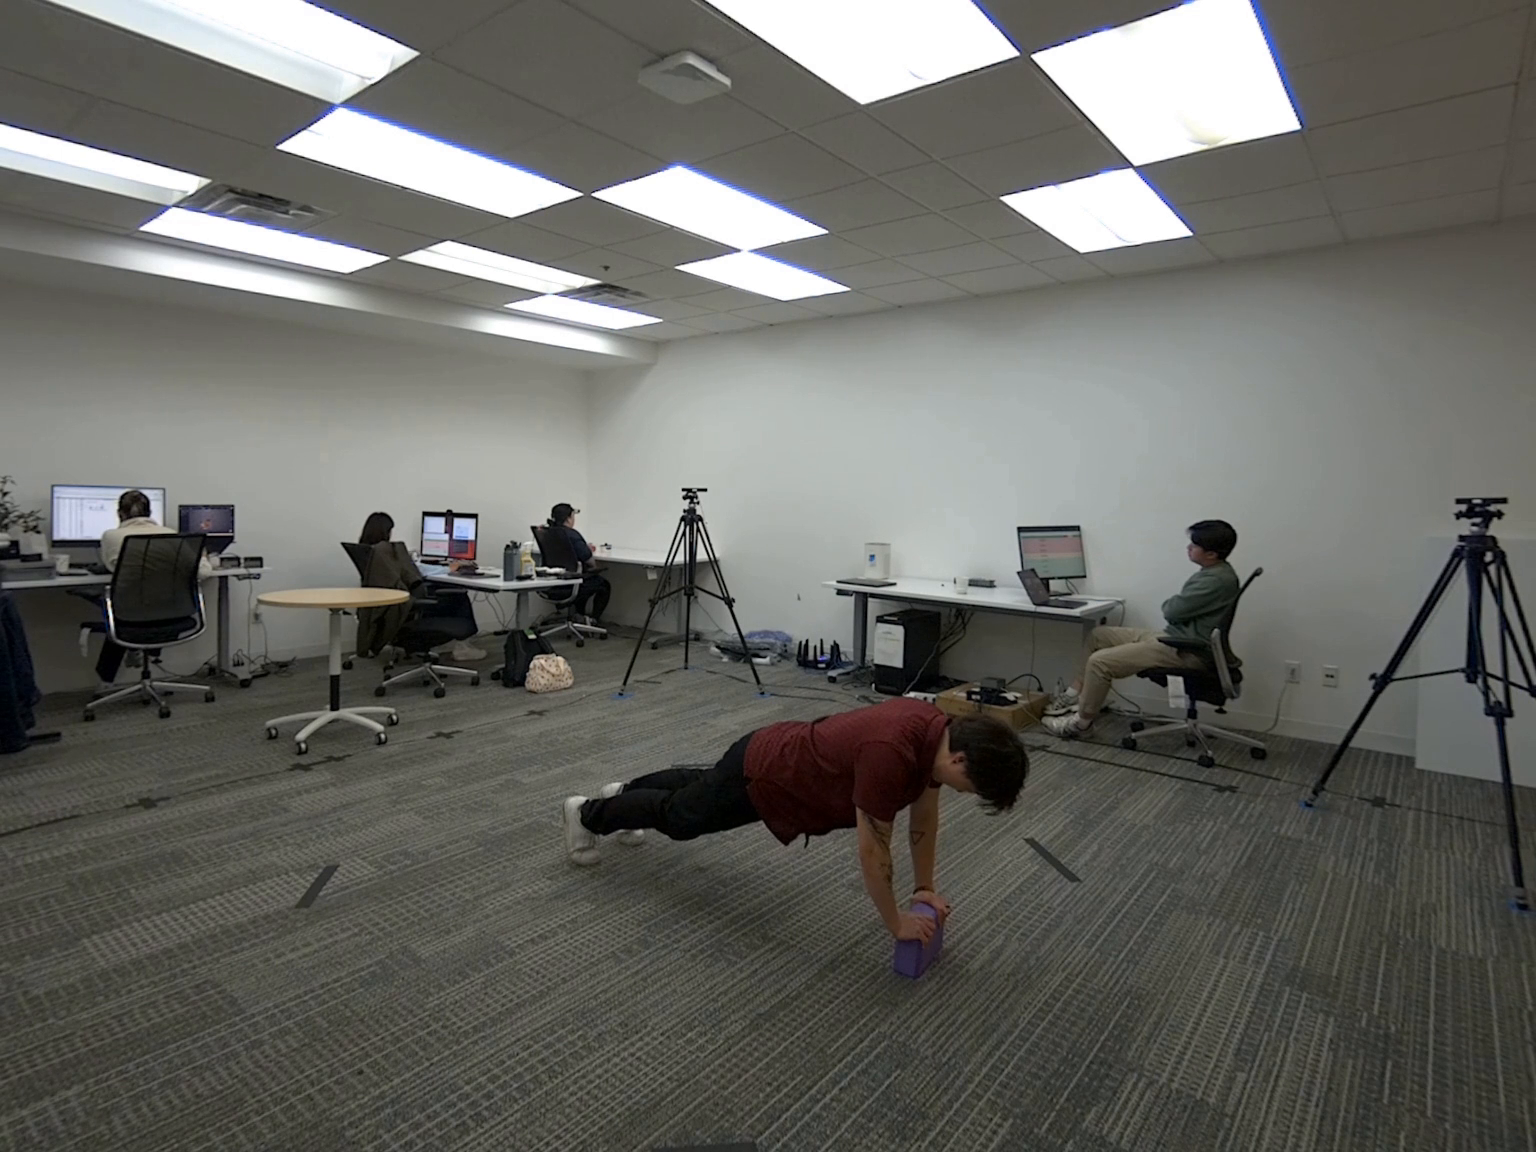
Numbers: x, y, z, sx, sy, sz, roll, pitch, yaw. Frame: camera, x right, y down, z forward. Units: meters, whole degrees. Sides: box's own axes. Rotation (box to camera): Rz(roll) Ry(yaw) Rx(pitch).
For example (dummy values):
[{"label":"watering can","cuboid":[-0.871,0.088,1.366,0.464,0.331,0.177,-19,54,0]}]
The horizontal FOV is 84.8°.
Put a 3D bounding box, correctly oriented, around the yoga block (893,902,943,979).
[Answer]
[{"label":"yoga block","cuboid":[0.451,1.070,2.543,0.079,0.148,0.223,6,6,30]}]
